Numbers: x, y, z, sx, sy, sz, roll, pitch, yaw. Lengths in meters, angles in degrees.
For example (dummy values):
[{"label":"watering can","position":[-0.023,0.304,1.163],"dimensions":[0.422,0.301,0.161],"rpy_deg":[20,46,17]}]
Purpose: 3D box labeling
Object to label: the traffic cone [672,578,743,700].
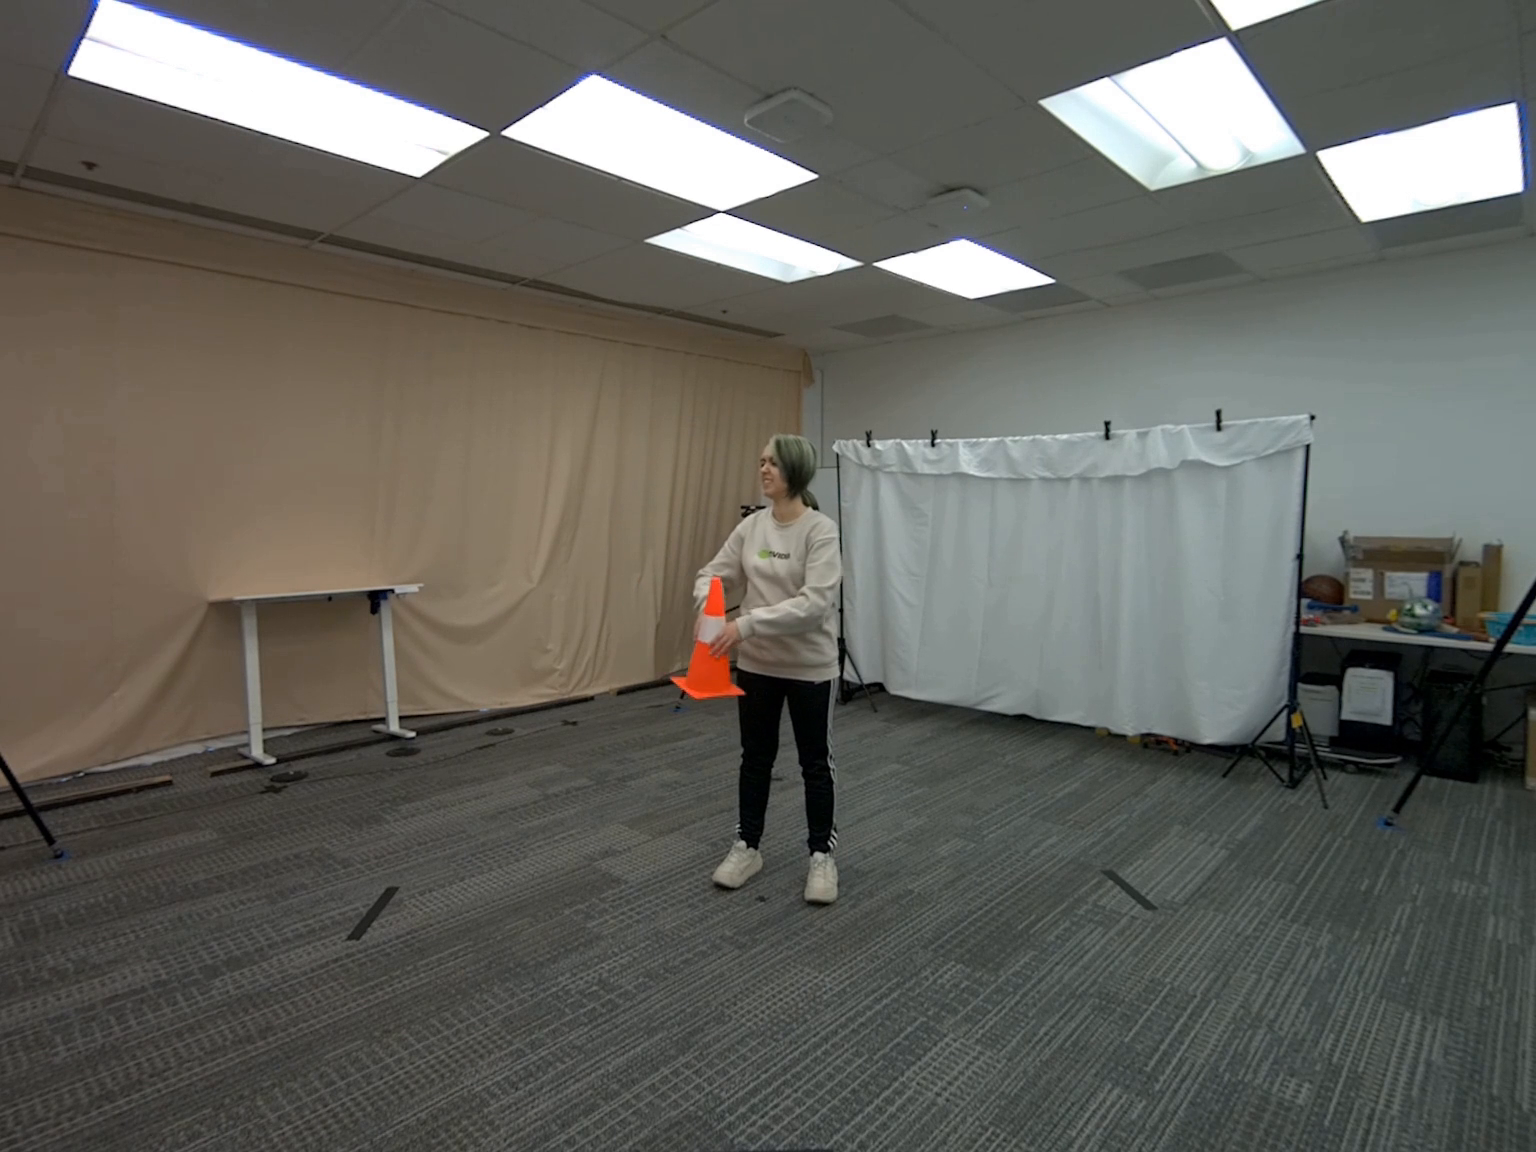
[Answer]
[{"label":"traffic cone","position":[-0.180,0.190,2.871],"dimensions":[0.197,0.382,0.212],"rpy_deg":[1,8,-36]}]
